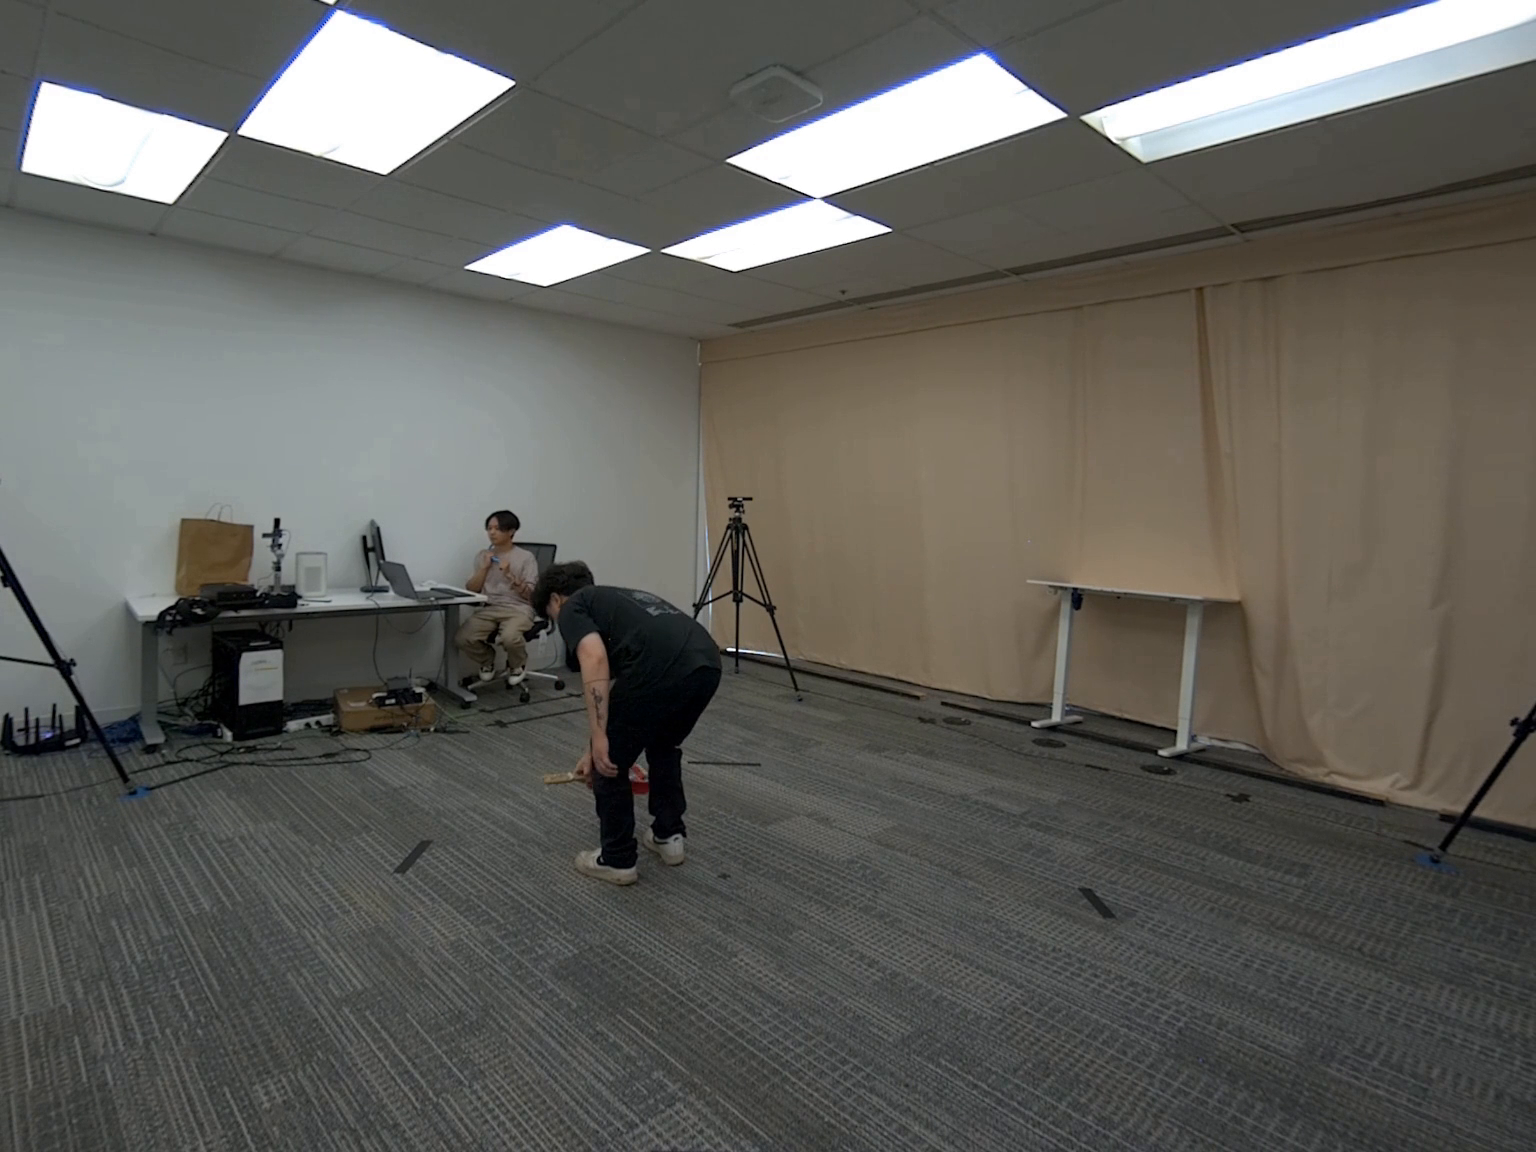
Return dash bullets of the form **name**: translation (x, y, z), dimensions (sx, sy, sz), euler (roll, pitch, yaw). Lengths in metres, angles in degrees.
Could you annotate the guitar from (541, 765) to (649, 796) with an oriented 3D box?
- **guitar**: translation (-0.708, 0.818, 3.454), dimensions (0.486, 0.070, 0.198), euler (7, 12, -31)
